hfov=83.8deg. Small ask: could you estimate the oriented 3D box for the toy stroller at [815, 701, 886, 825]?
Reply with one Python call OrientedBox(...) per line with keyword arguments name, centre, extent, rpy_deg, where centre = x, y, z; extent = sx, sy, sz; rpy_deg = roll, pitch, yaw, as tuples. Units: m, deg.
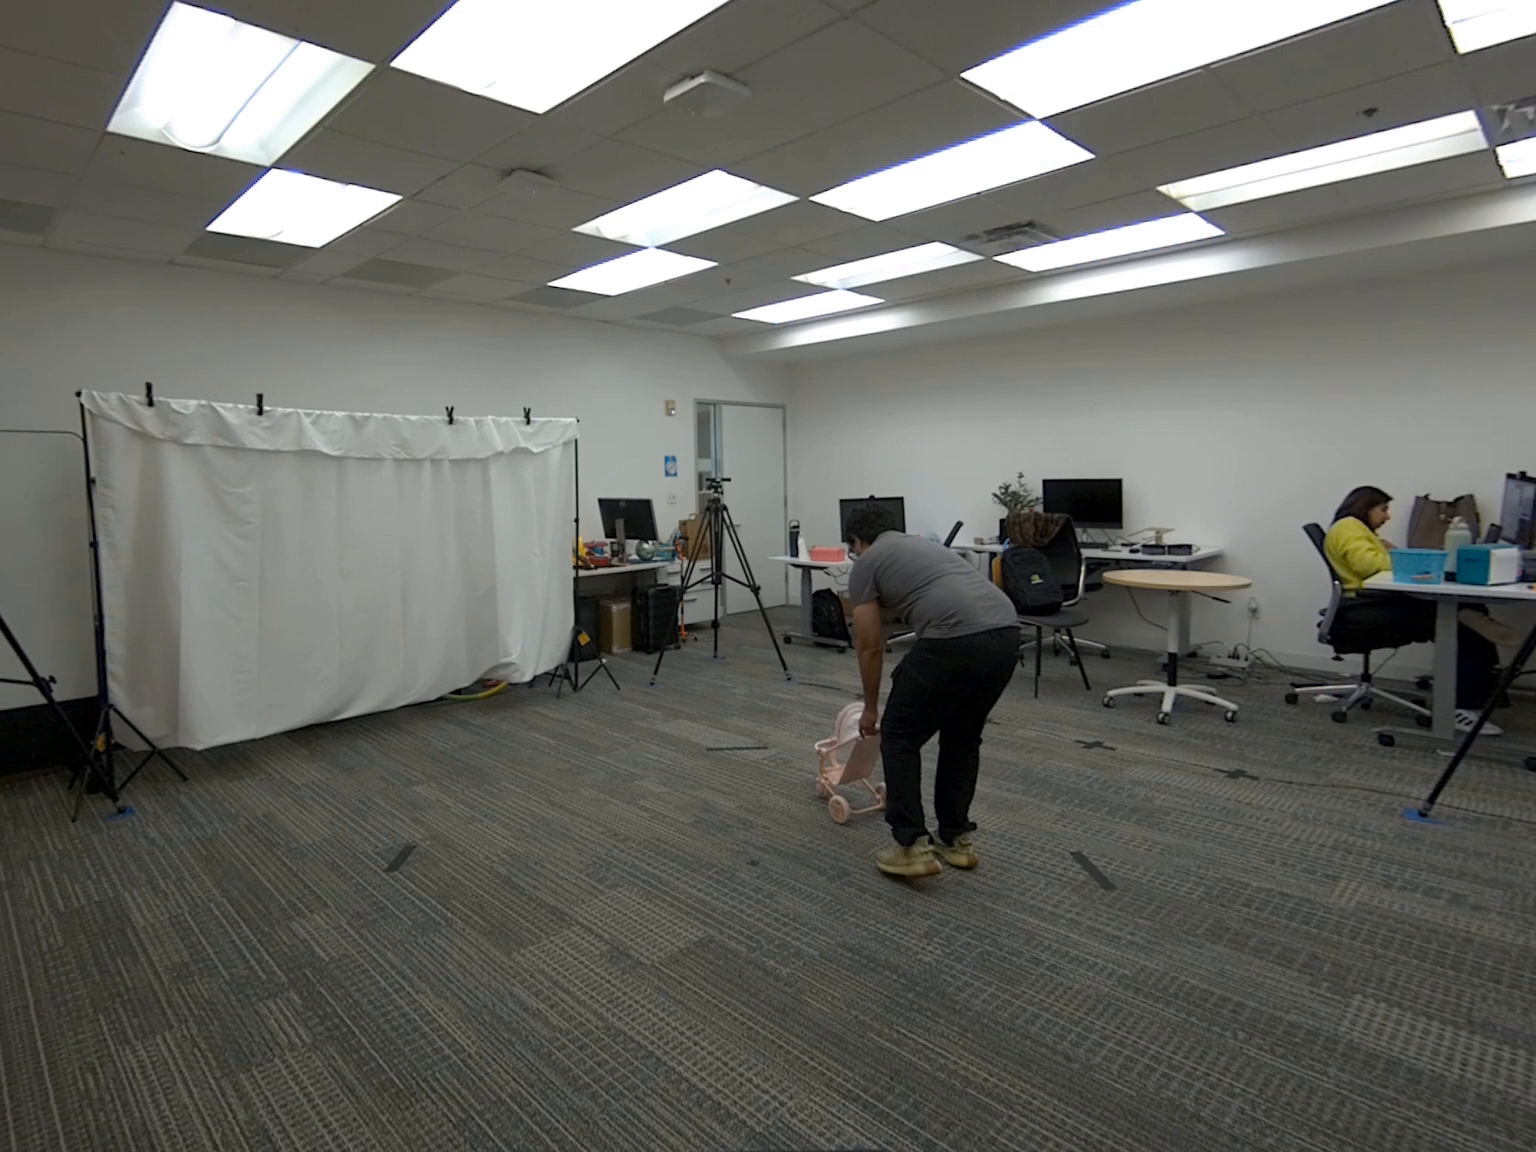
OrientedBox(name="toy stroller", centre=(0.353, 0.759, 3.559), extent=(0.274, 0.528, 0.354), rpy_deg=(-3, 21, -32))
